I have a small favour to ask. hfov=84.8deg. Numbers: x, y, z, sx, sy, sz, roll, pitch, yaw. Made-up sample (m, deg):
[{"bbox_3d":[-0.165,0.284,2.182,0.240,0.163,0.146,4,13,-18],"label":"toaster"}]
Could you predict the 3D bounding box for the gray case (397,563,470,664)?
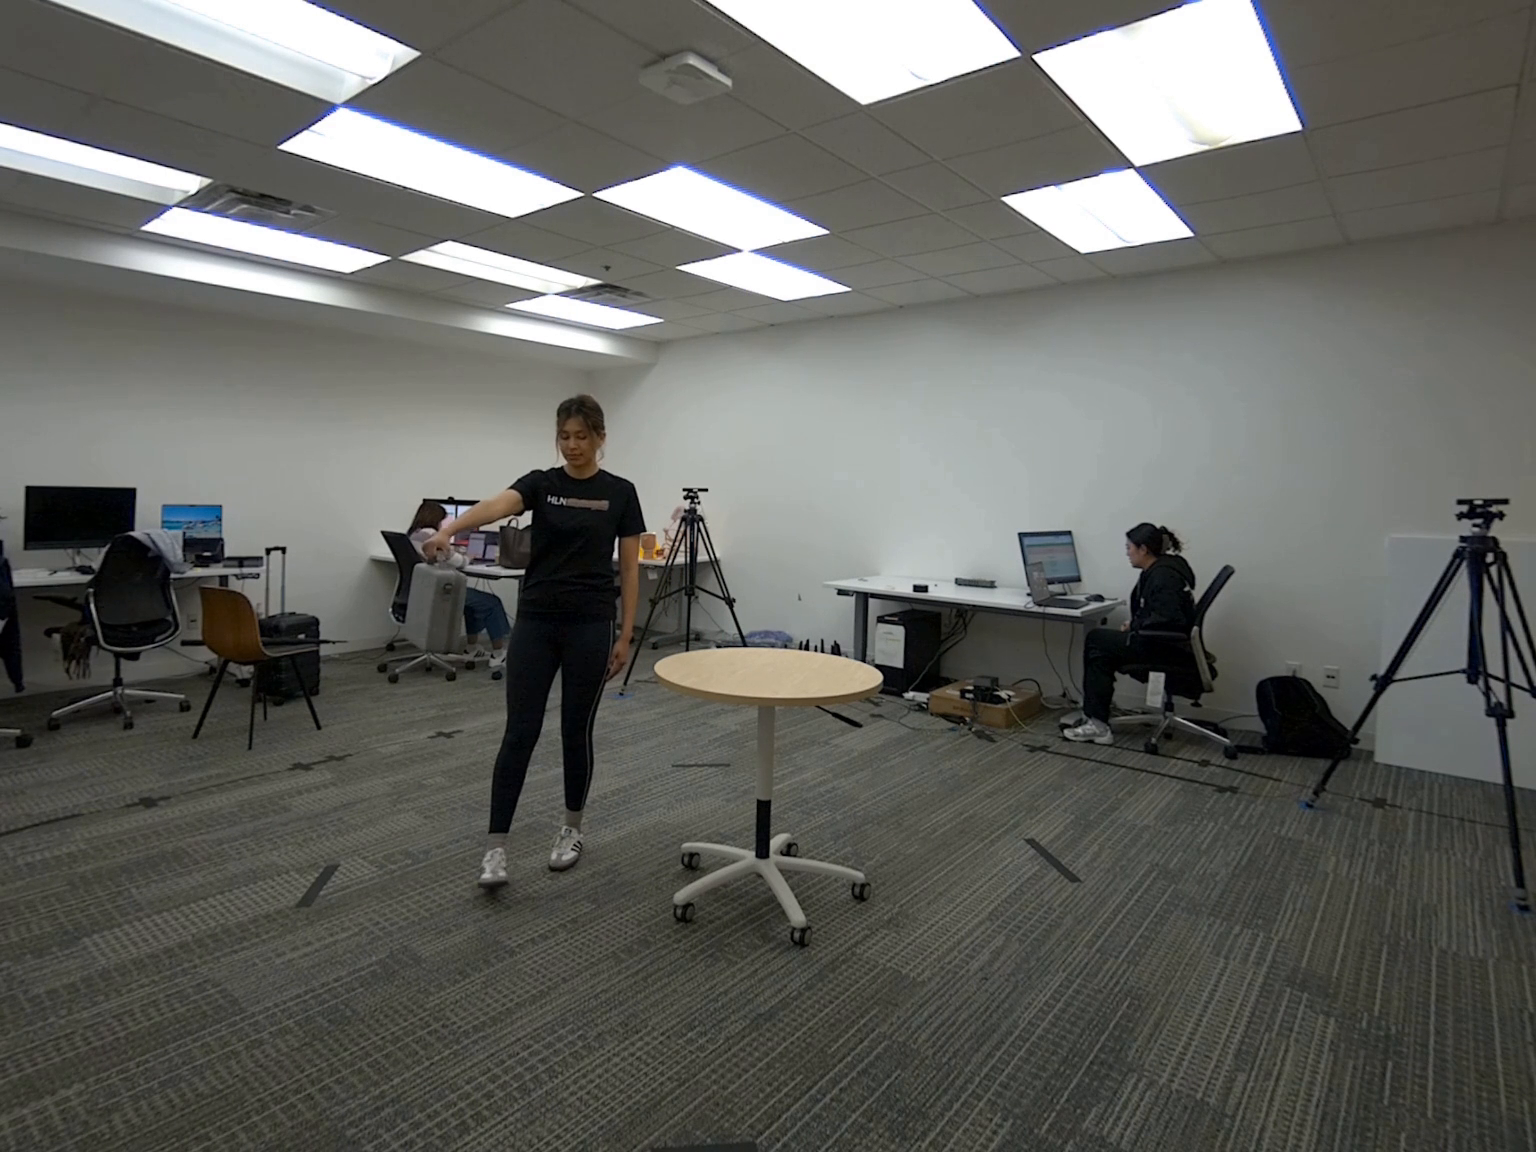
[{"bbox_3d":[-1.035,0.090,2.623,0.101,0.260,0.265,8,2,-33],"label":"gray case"}]
